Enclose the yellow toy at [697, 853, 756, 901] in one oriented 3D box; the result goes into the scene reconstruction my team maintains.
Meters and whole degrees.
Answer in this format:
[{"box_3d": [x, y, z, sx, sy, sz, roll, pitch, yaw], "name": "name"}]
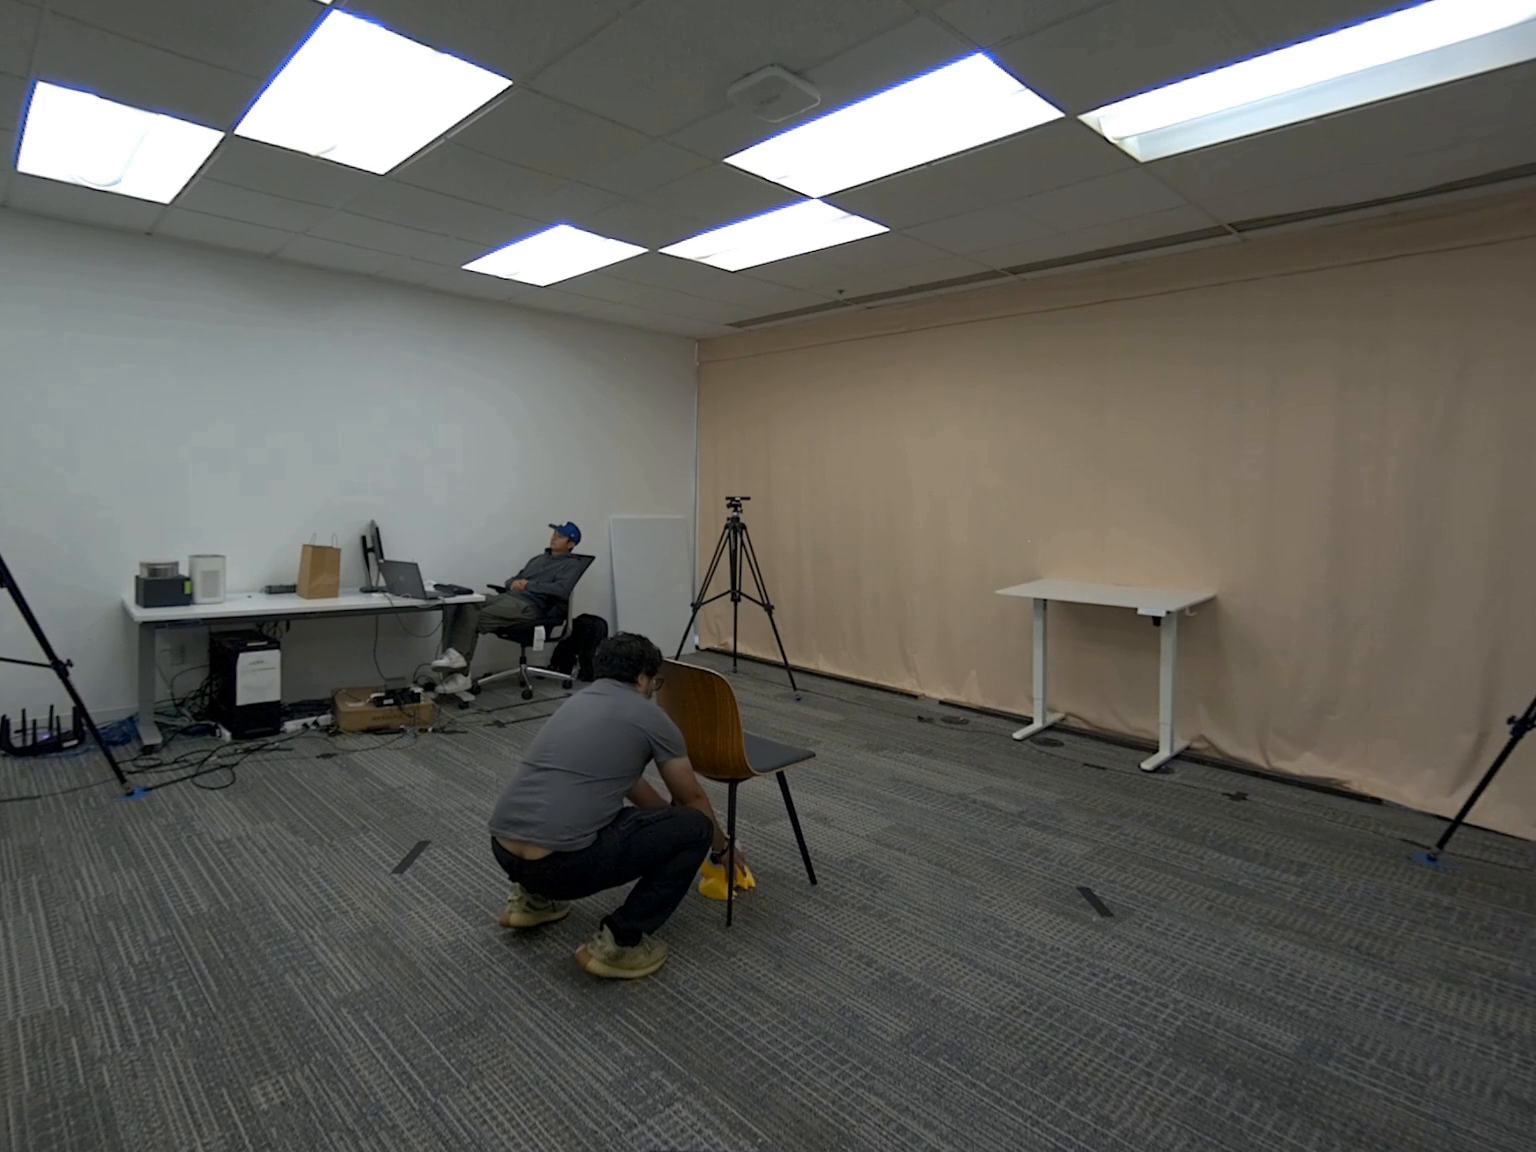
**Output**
[{"box_3d": [-0.163, 1.001, 3.021, 0.197, 0.230, 0.200, -1, 1, 43], "name": "yellow toy"}]
